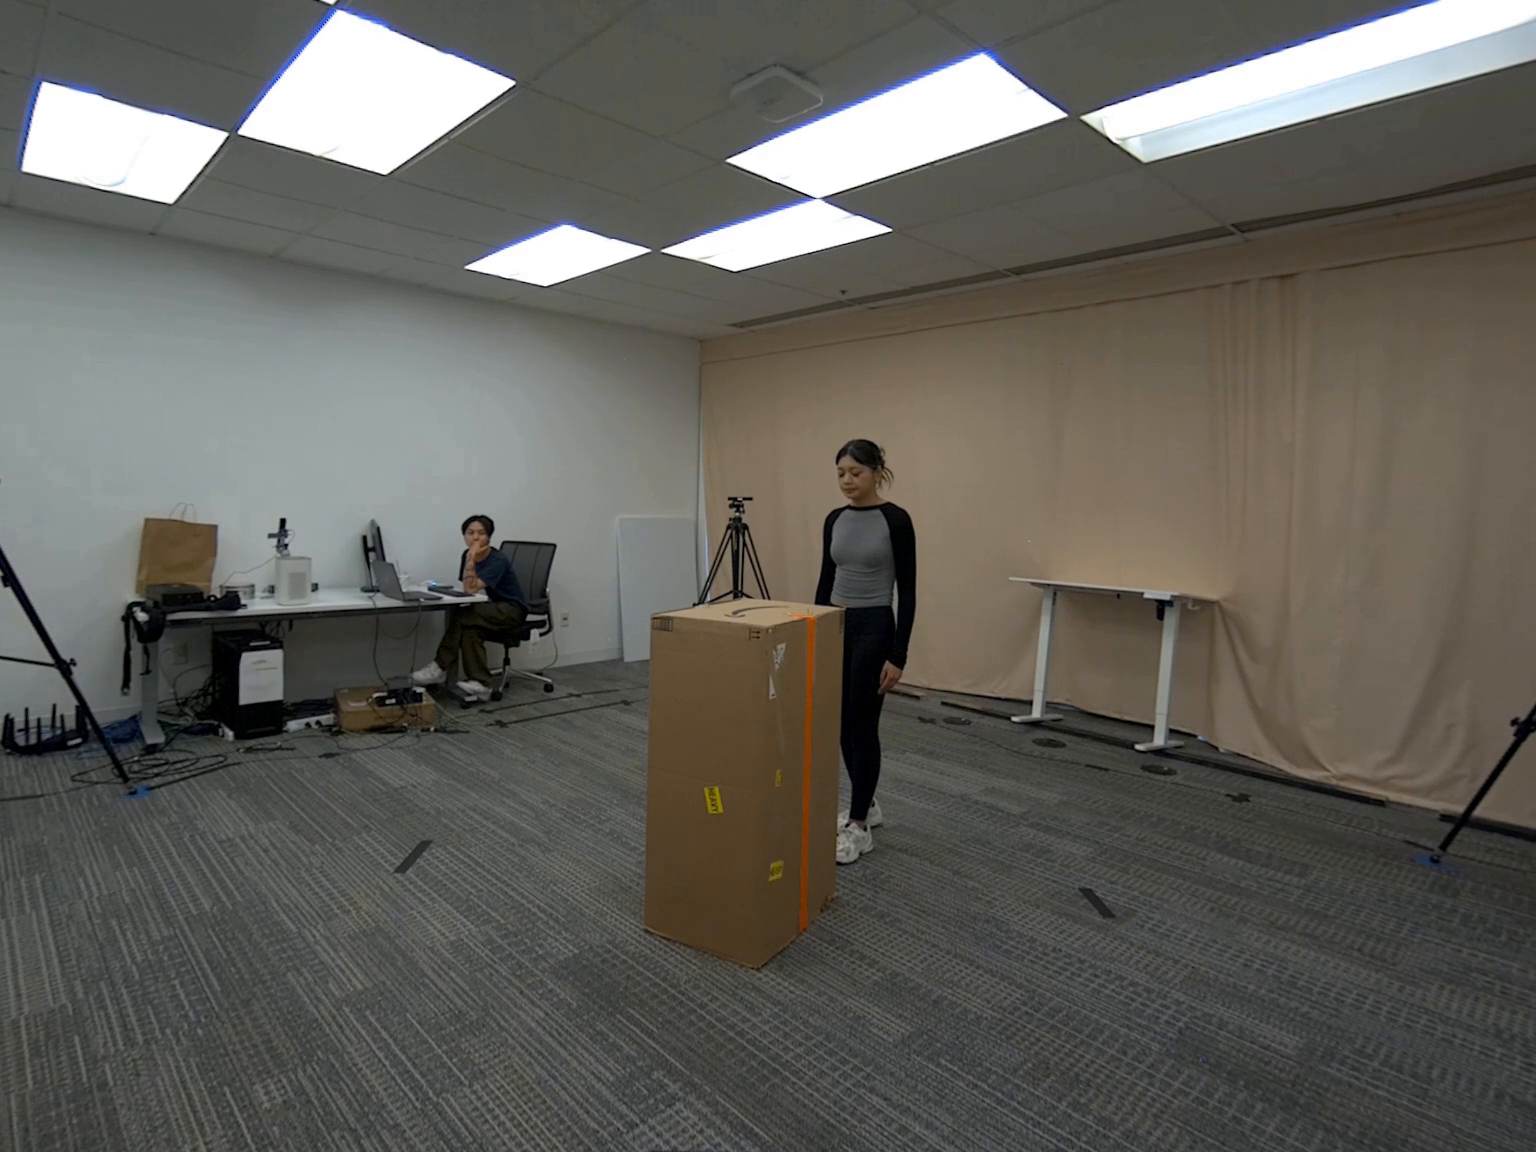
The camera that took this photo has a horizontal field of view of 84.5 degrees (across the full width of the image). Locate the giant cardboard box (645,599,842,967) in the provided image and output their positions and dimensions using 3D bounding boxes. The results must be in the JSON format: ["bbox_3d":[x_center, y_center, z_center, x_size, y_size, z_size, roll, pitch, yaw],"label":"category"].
[{"bbox_3d":[-0.067,0.630,2.806,0.456,1.025,0.573,2,3,29],"label":"giant cardboard box"}]
